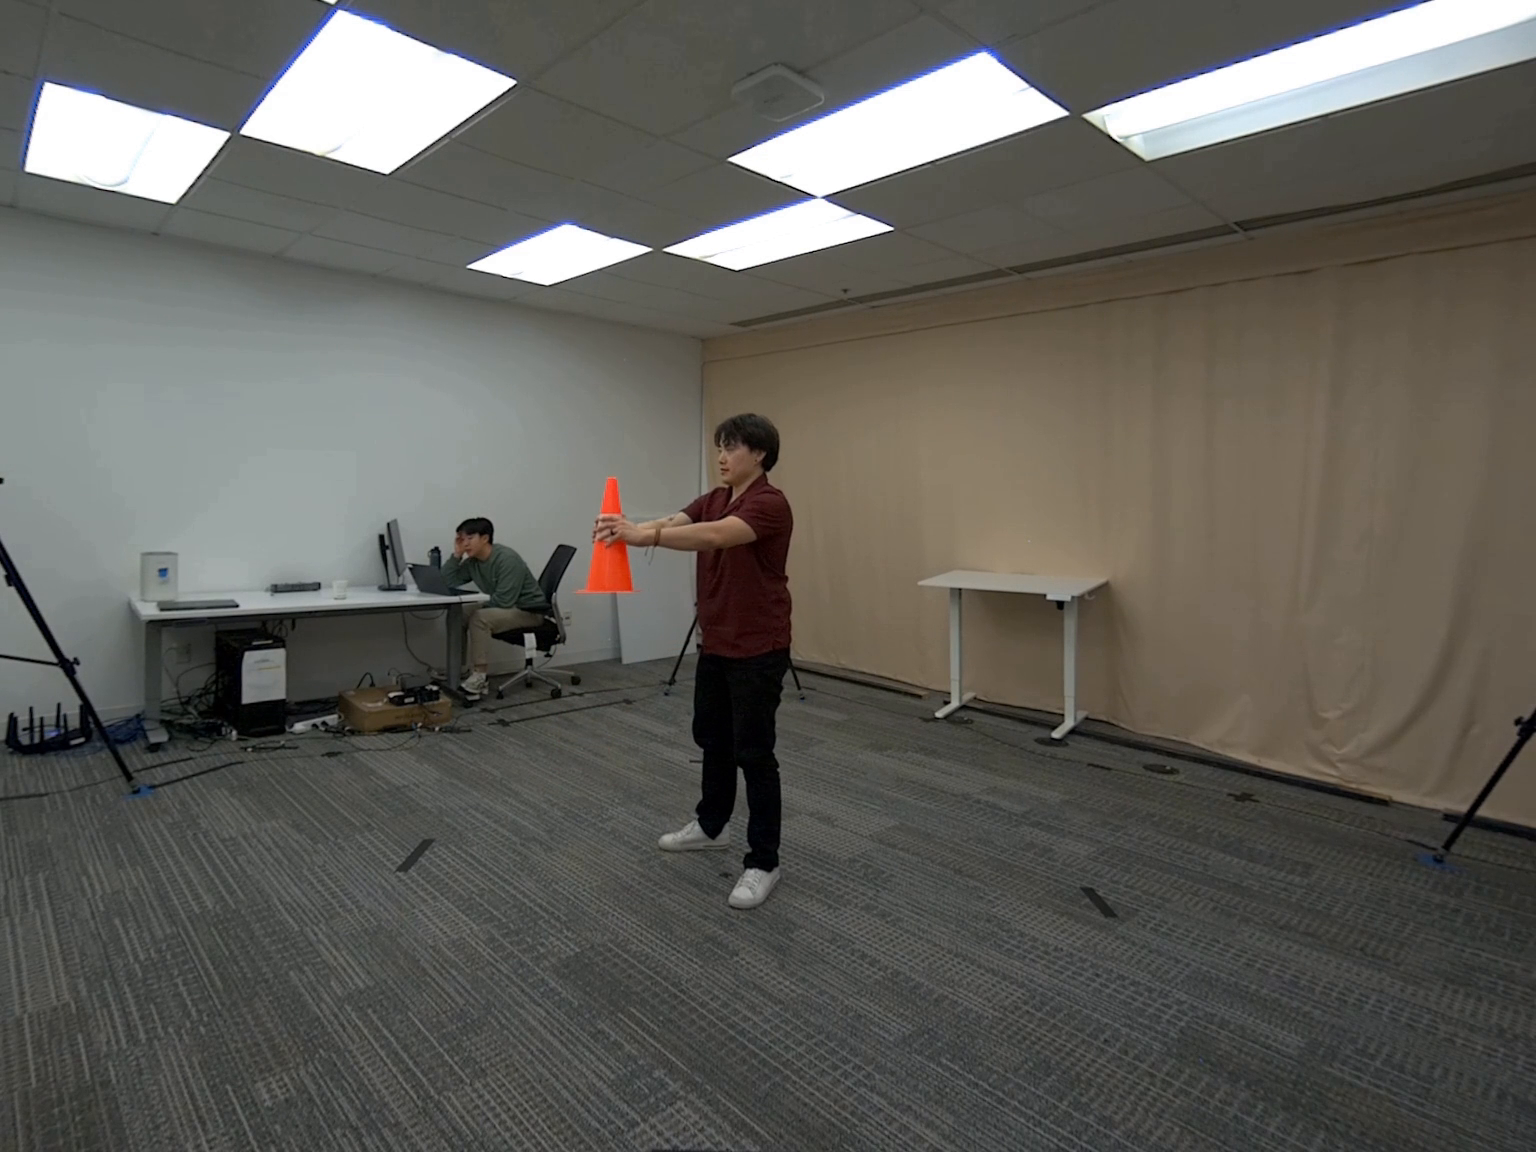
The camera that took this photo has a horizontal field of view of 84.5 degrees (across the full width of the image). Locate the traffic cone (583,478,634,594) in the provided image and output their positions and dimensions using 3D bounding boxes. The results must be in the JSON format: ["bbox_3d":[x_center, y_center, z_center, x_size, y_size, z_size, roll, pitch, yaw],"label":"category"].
[{"bbox_3d":[-0.544,-0.131,2.818,0.204,0.384,0.203,0,-1,-3],"label":"traffic cone"}]
